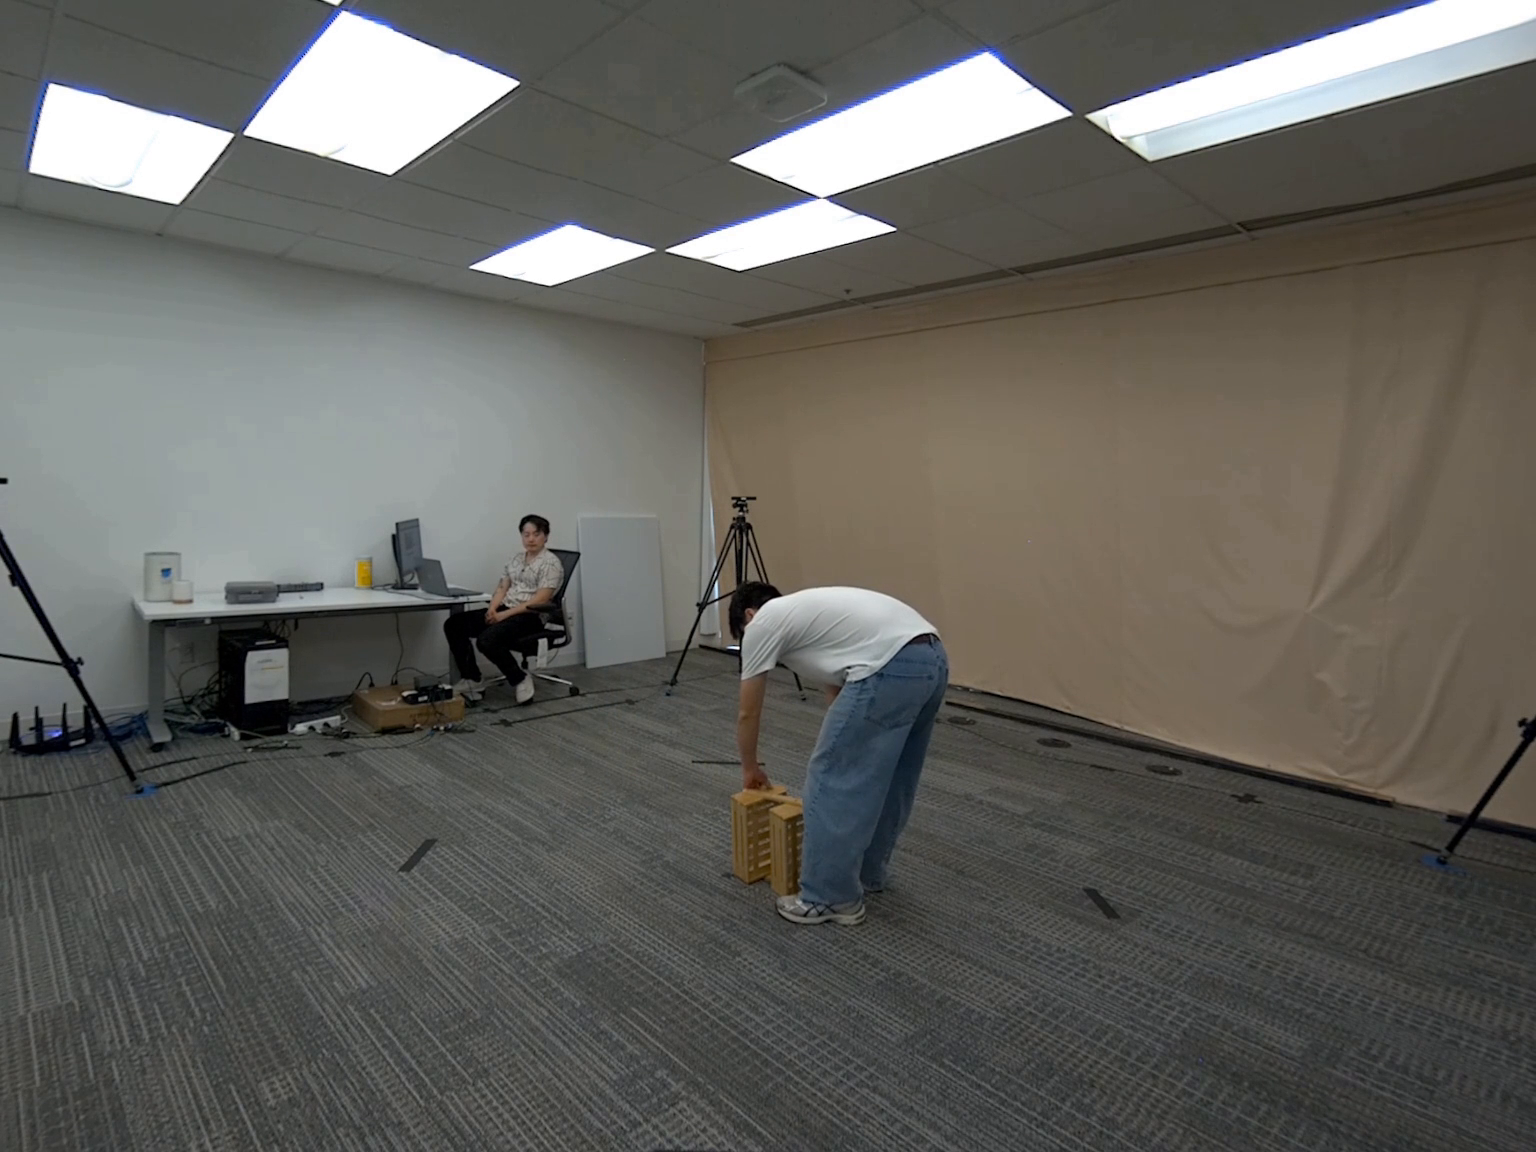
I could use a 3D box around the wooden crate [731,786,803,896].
[{"bbox_3d":[0.054,0.934,3.072,0.296,0.322,0.281,-8,12,-37],"label":"wooden crate"}]
